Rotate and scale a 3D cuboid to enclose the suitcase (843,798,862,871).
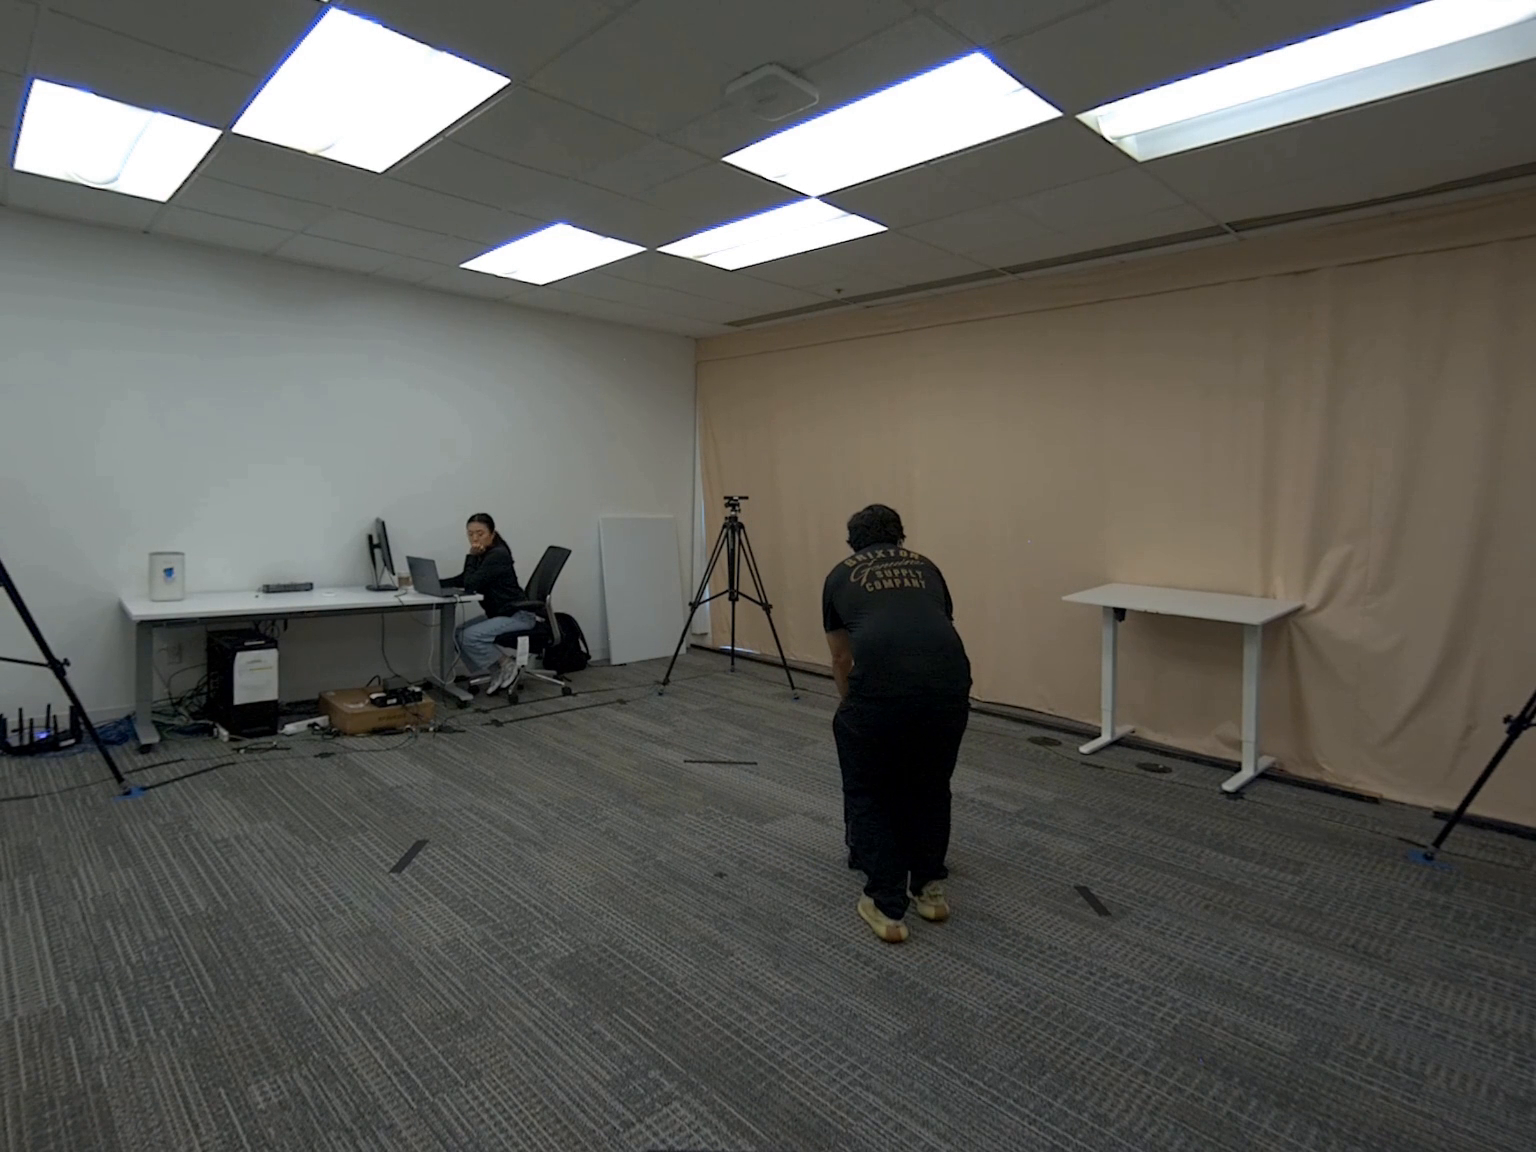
[{"bbox_3d":[0.490,0.838,3.232,0.378,0.547,0.247,3,5,7],"label":"suitcase"}]
